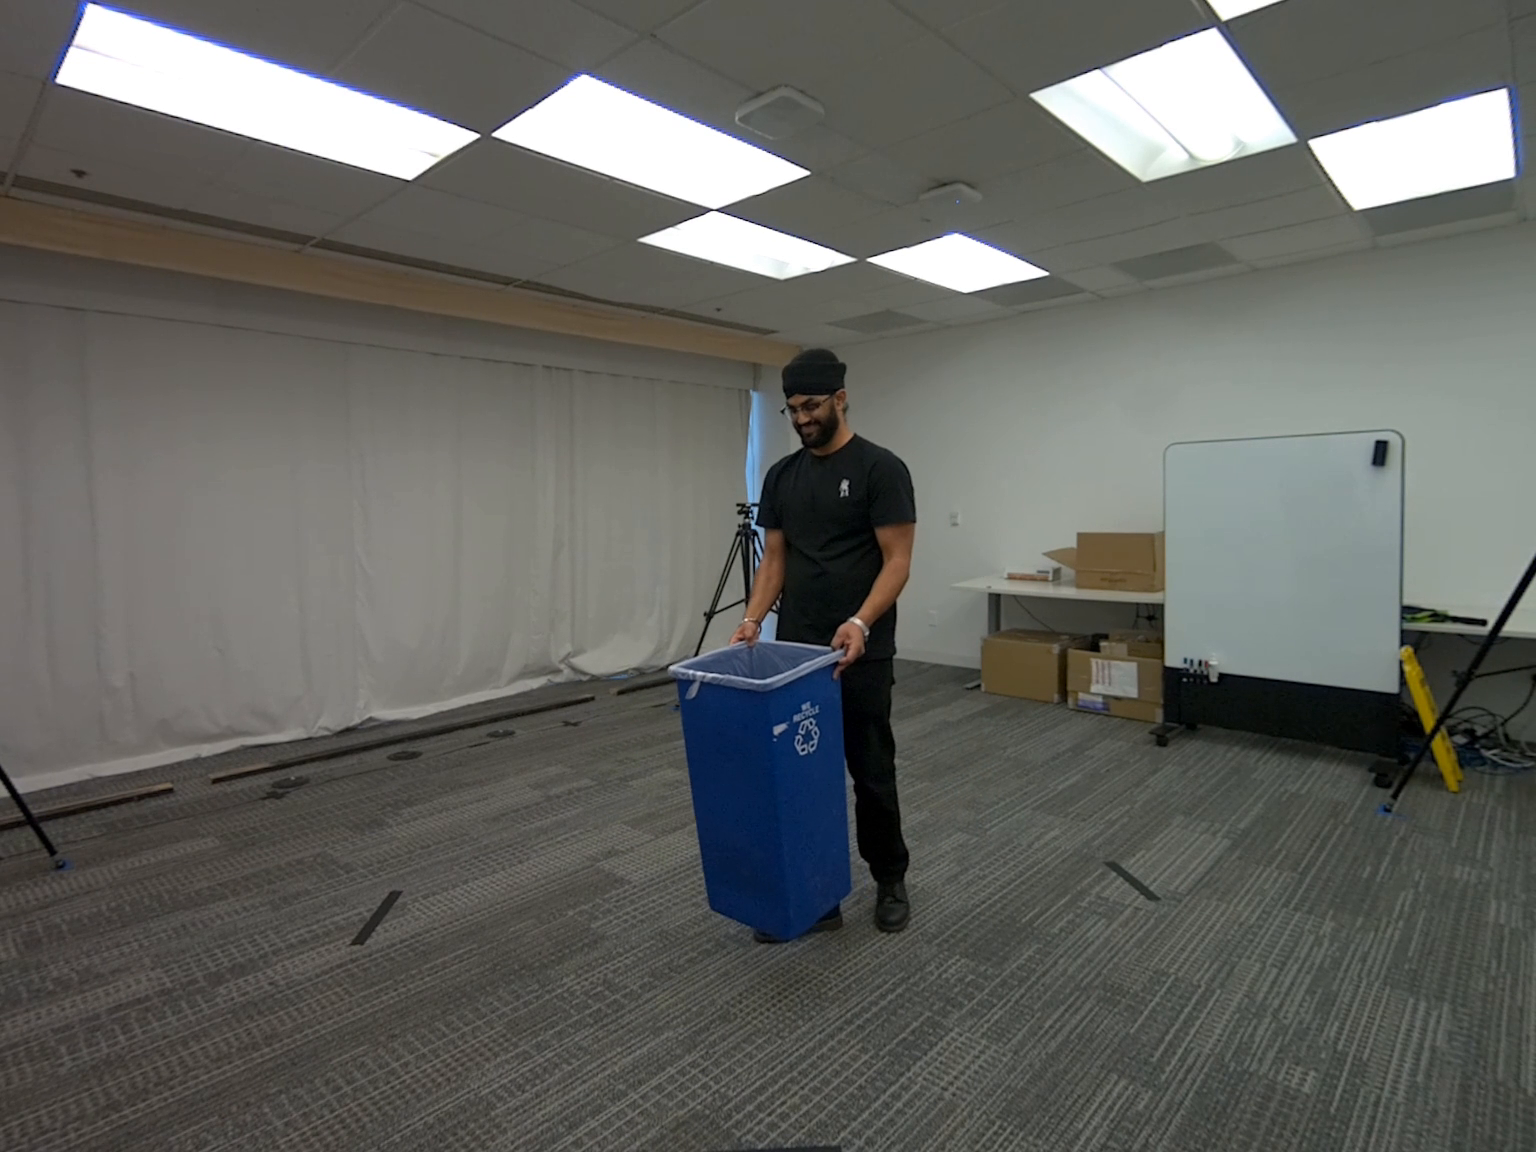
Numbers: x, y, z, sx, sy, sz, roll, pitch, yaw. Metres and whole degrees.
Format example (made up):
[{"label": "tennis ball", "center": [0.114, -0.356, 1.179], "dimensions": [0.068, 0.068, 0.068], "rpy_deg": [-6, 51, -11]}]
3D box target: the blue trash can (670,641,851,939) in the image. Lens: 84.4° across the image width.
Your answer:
[{"label": "blue trash can", "center": [0.008, 0.583, 2.375], "dimensions": [0.390, 0.710, 0.364], "rpy_deg": [1, 10, 41]}]
